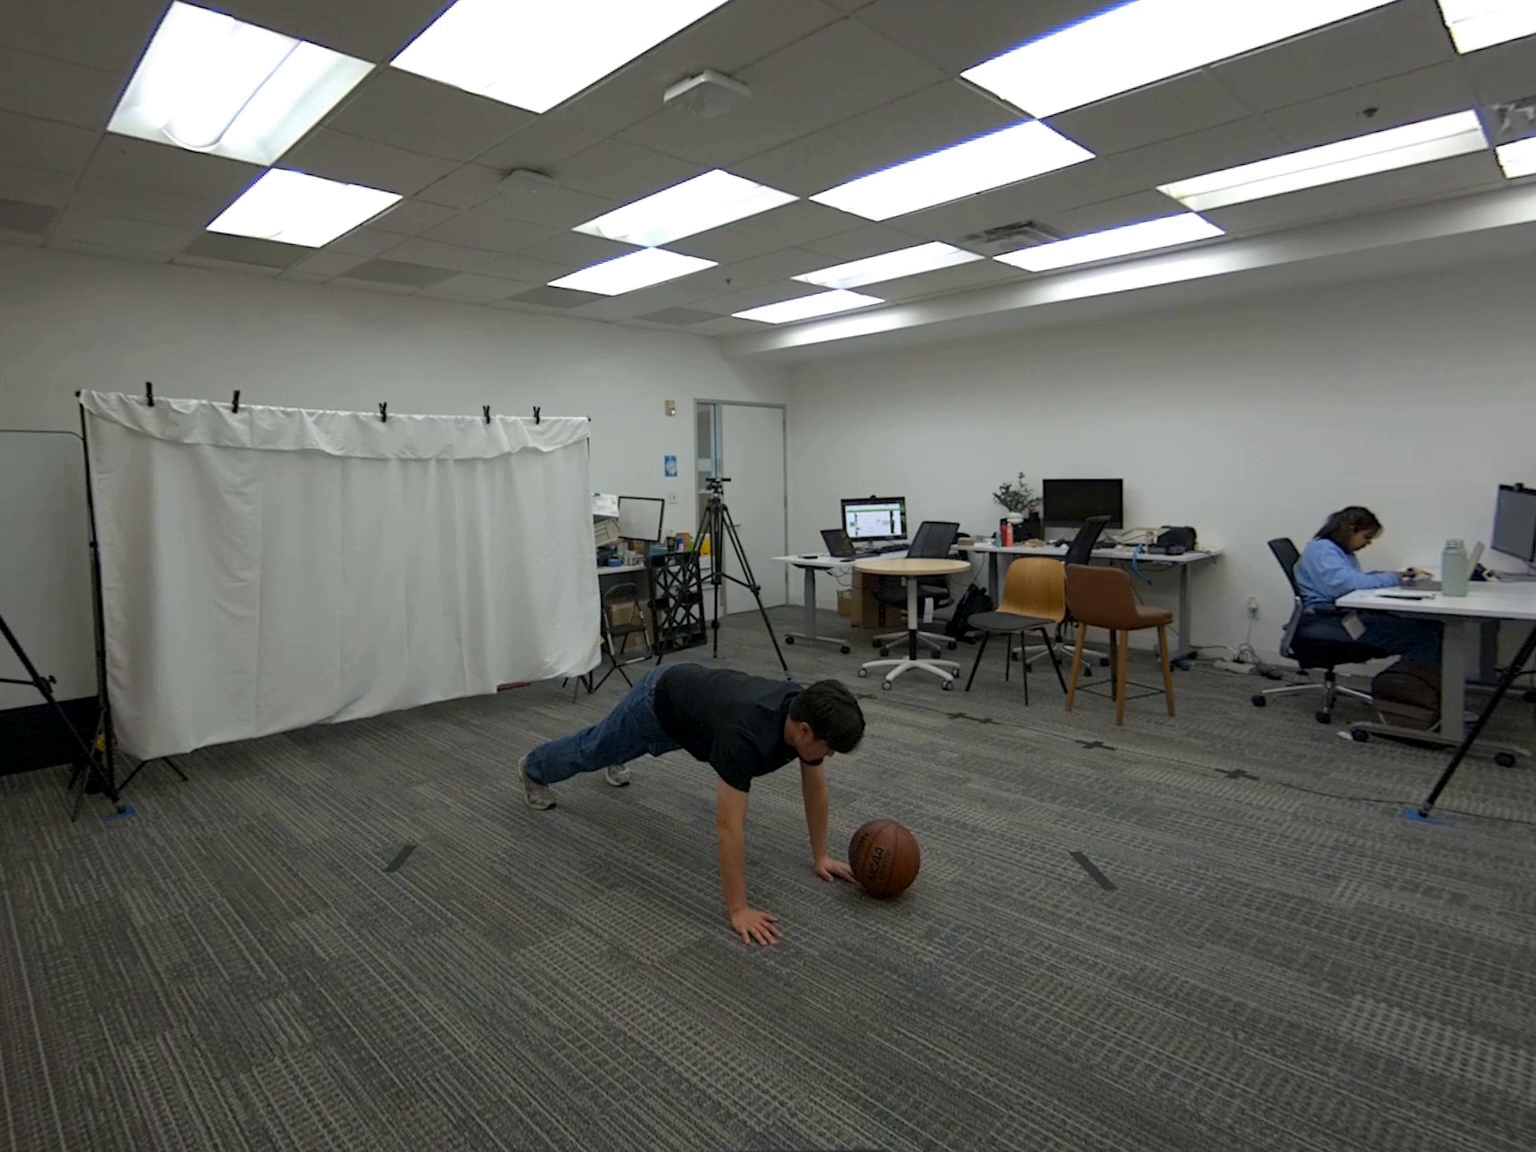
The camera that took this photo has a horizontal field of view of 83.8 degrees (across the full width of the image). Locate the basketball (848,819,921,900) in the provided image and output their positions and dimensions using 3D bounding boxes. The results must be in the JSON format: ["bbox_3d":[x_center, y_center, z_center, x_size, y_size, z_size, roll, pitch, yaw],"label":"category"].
[{"bbox_3d":[0.394,0.937,2.865,0.236,0.235,0.237,-1,5,-2],"label":"basketball"}]
